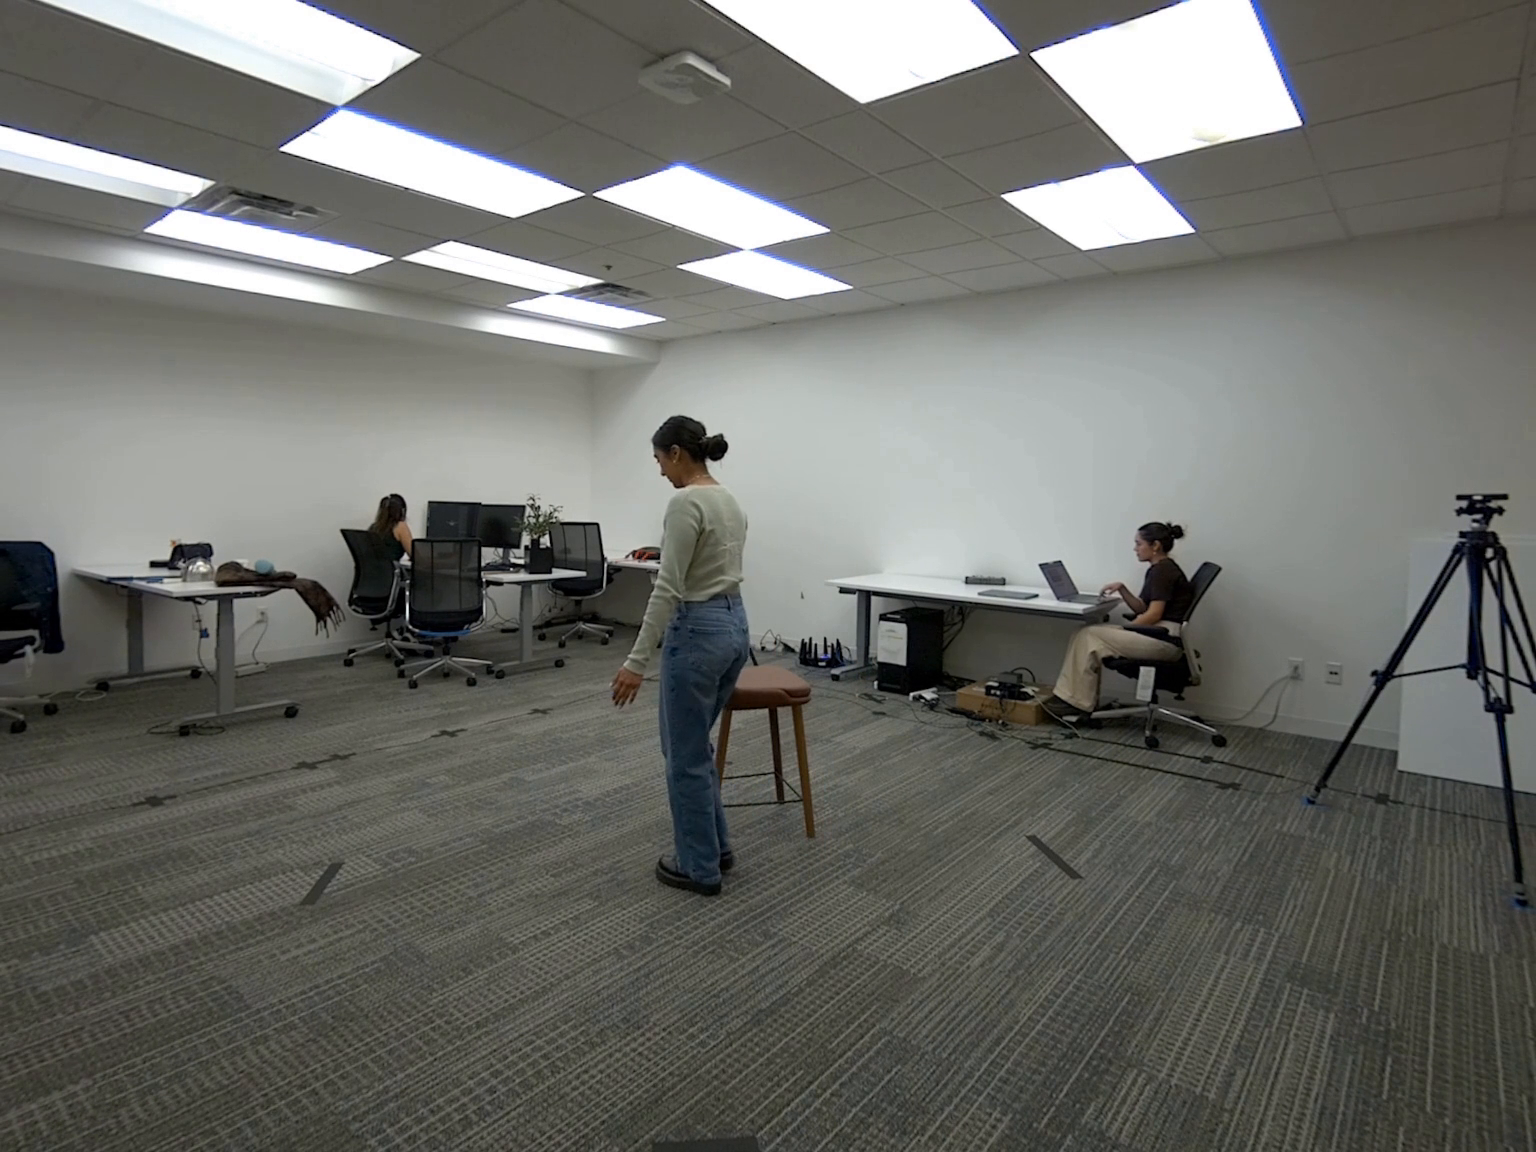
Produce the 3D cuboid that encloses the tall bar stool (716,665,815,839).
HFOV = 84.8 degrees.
[{"bbox_3d":[-0.088,0.590,3.517,0.460,0.887,0.465,-2,4,-17],"label":"tall bar stool"}]
